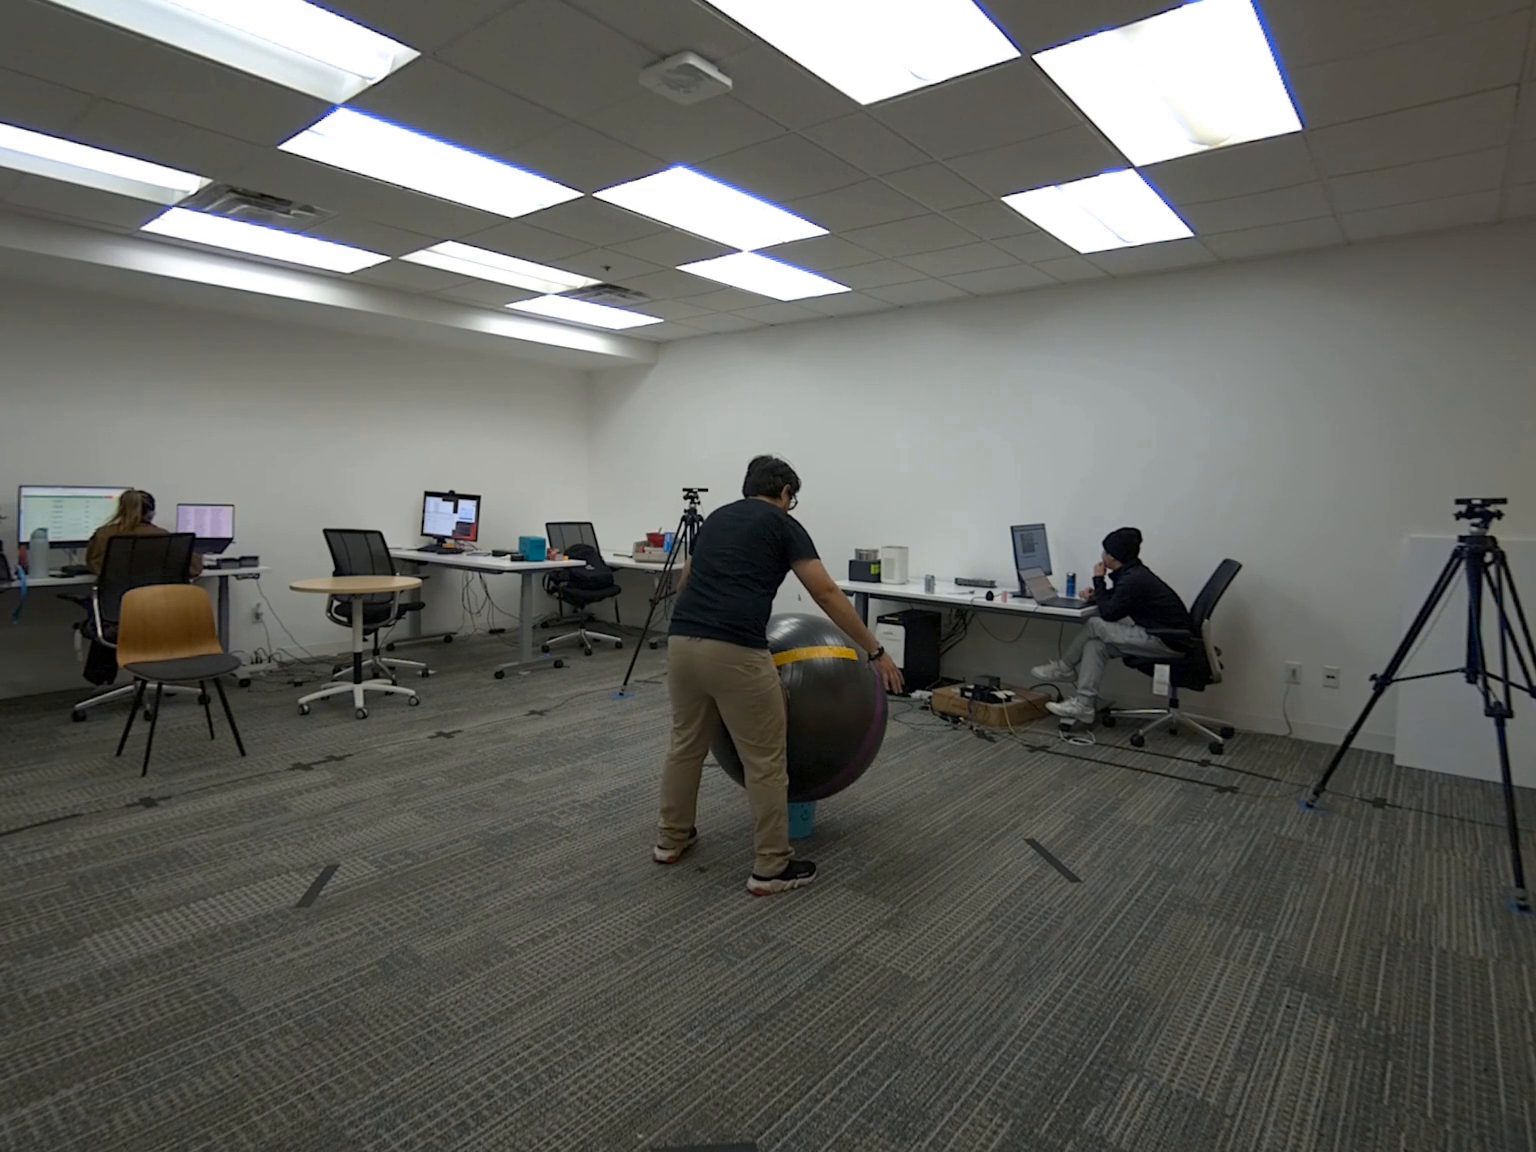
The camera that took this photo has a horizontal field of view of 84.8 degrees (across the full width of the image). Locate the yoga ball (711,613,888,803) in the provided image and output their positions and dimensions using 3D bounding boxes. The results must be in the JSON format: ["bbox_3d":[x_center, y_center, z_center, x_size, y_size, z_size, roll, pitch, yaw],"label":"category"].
[{"bbox_3d":[0.103,0.537,3.472,0.757,0.755,0.762,1,4,-2],"label":"yoga ball"}]
